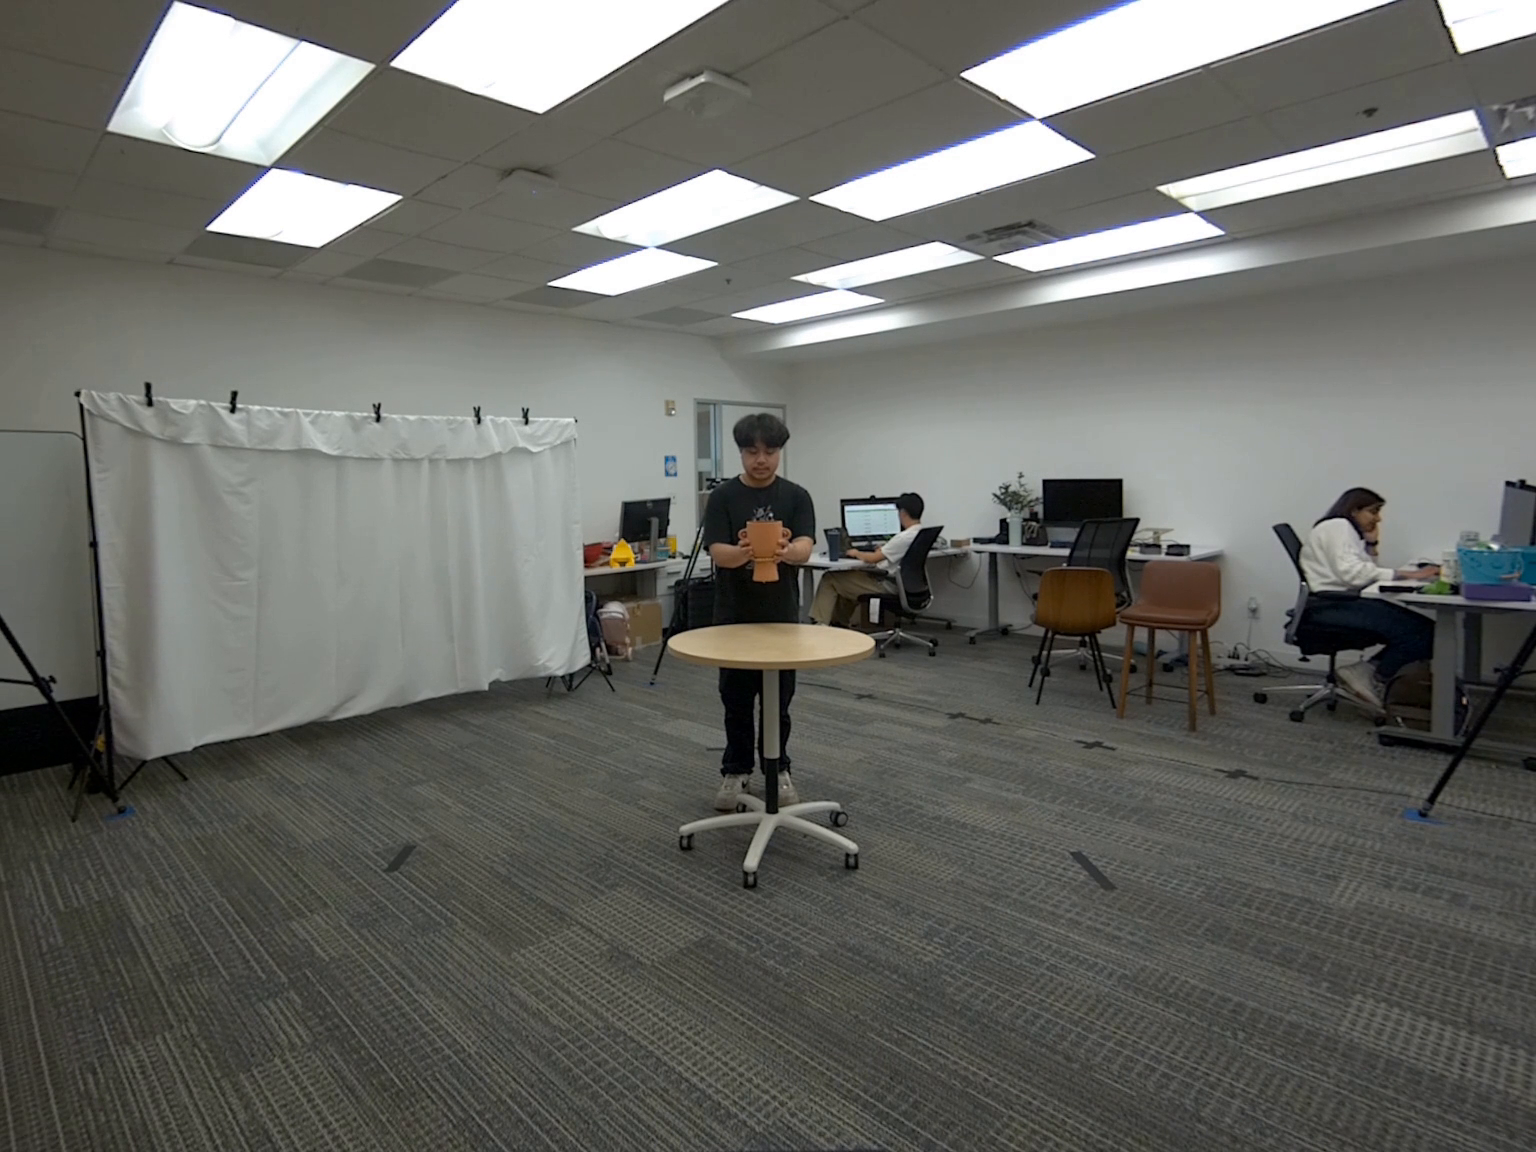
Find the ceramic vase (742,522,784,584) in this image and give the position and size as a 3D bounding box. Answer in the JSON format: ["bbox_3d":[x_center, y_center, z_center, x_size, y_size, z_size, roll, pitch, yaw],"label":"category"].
[{"bbox_3d":[-0.019,-0.092,3.235,0.164,0.219,0.131,4,6,40],"label":"ceramic vase"}]
